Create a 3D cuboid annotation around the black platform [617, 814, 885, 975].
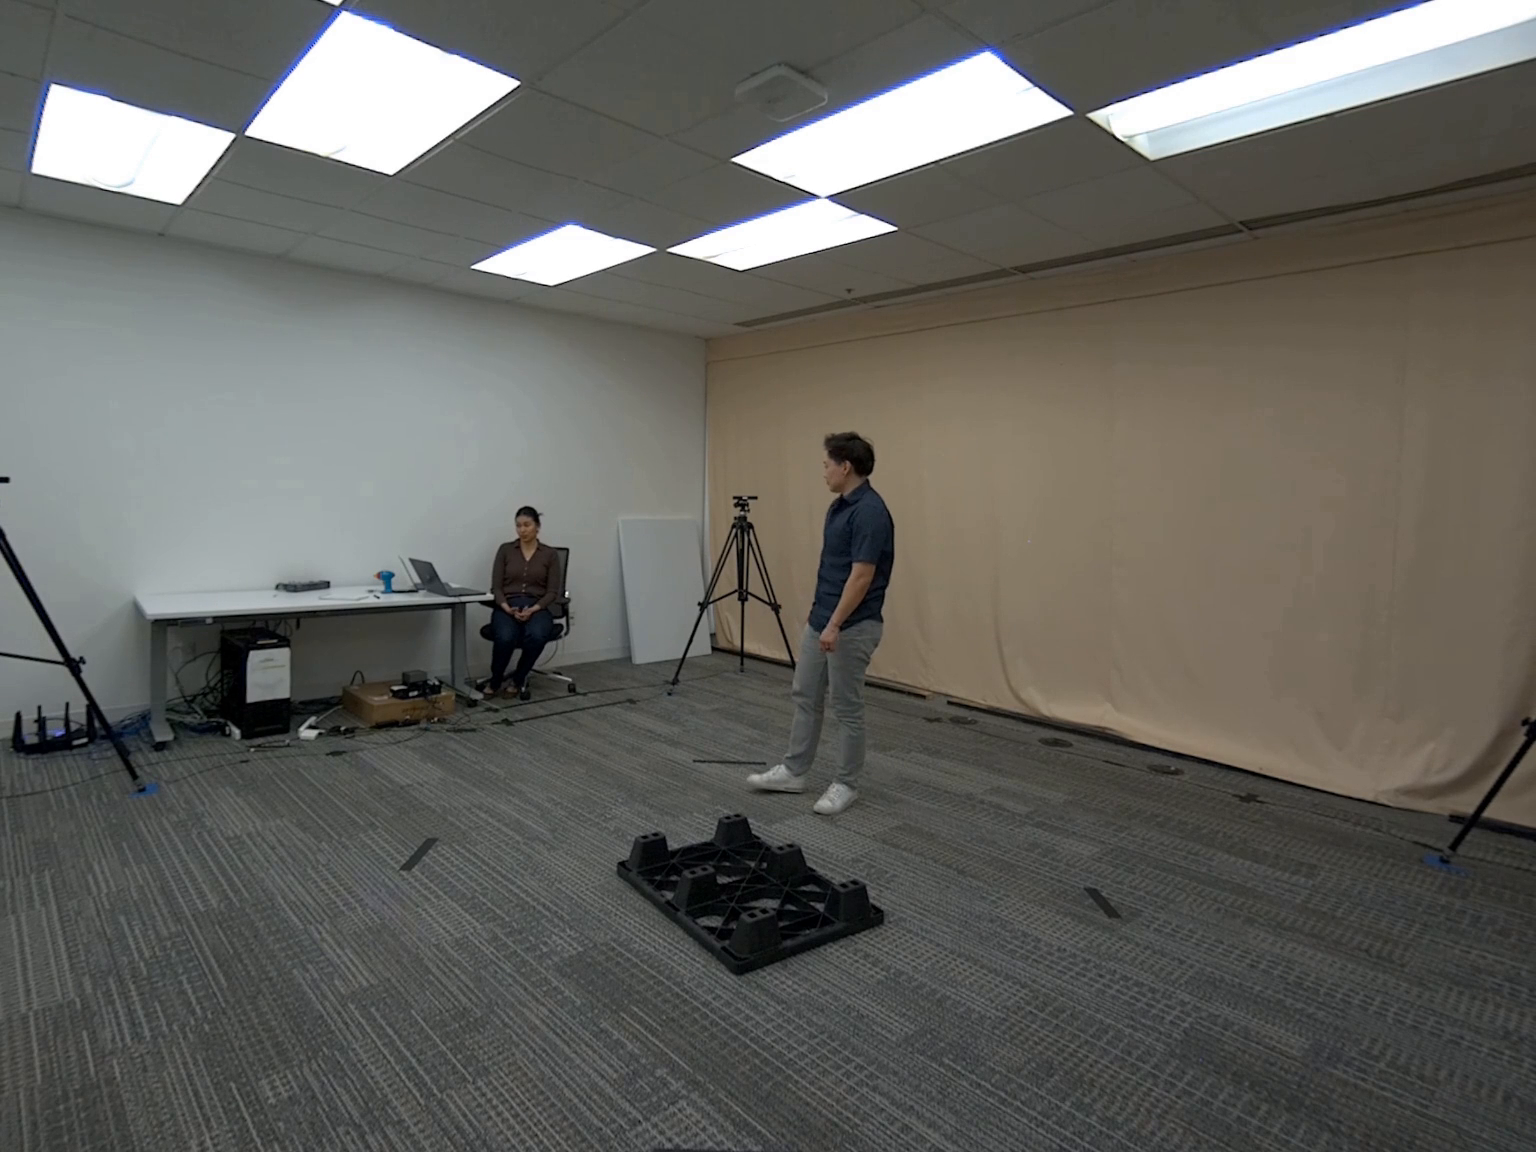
[{"bbox_3d":[-0.096,1.053,2.932,0.592,0.143,0.825,-2,6,-36],"label":"black platform"}]
